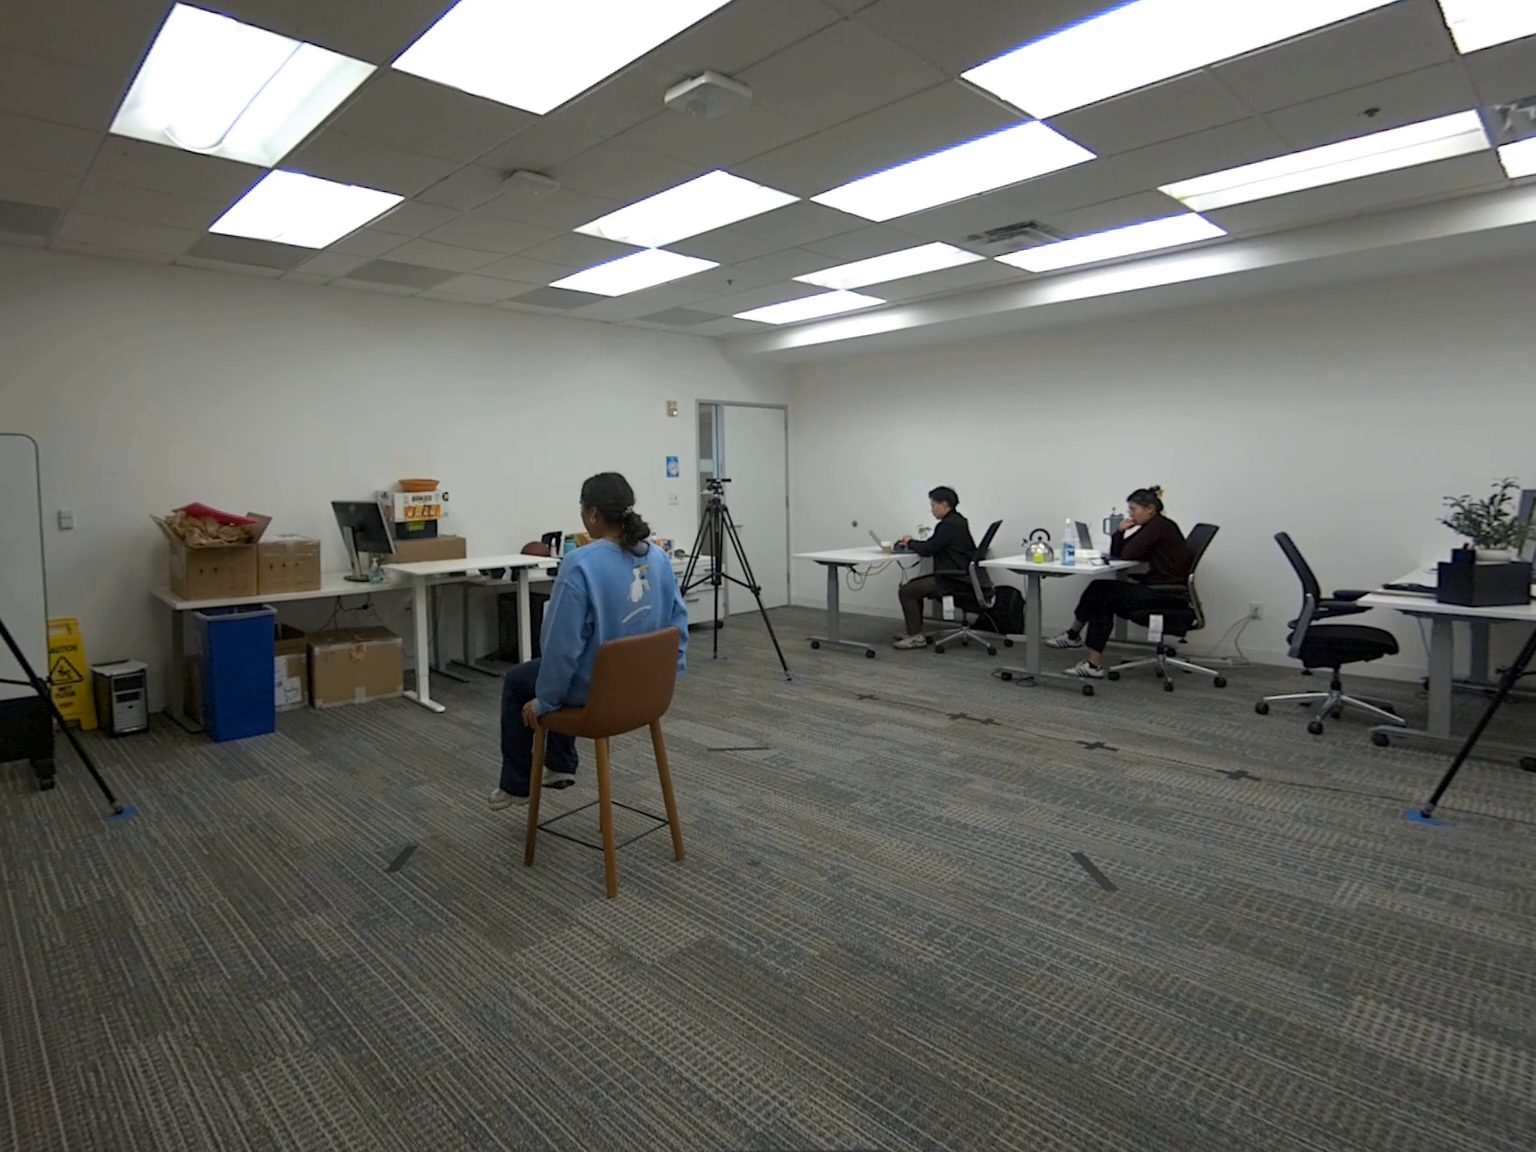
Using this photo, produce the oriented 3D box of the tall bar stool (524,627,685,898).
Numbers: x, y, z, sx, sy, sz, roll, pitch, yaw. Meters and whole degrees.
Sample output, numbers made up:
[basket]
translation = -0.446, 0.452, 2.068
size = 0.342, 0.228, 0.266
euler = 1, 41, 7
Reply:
[tall bar stool]
translation = -0.598, 0.619, 3.114
size = 0.482, 0.885, 0.445
euler = 4, 7, 37
